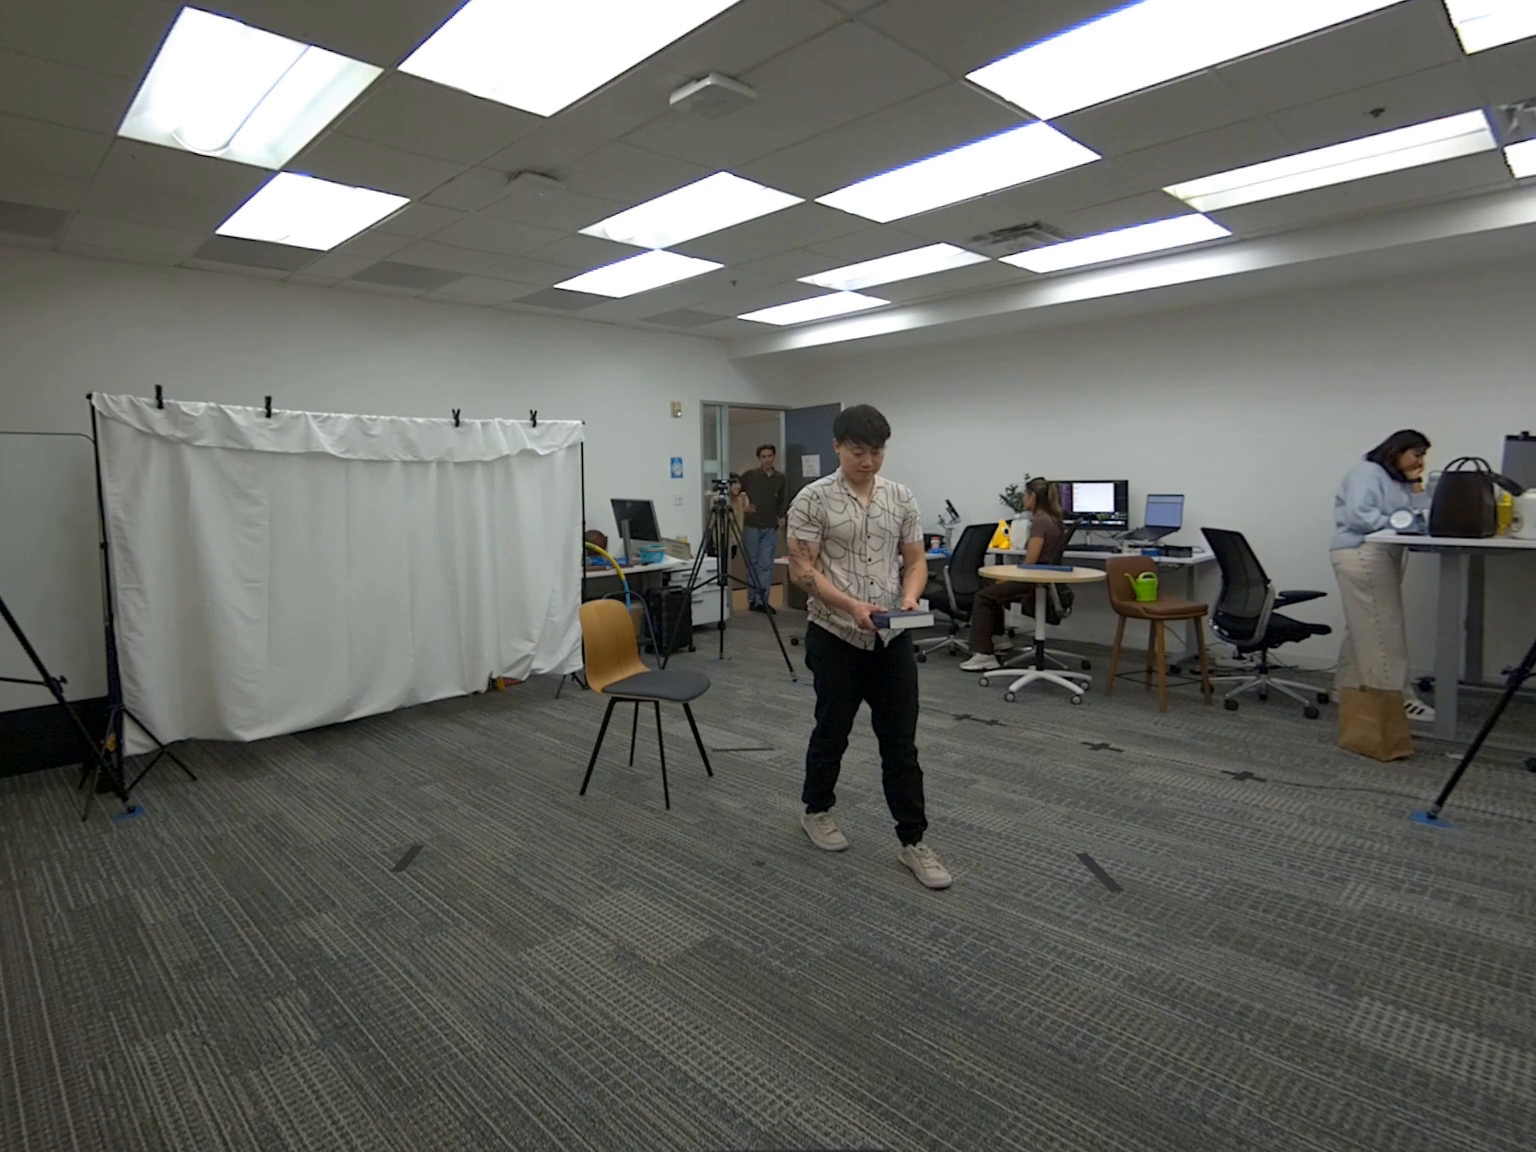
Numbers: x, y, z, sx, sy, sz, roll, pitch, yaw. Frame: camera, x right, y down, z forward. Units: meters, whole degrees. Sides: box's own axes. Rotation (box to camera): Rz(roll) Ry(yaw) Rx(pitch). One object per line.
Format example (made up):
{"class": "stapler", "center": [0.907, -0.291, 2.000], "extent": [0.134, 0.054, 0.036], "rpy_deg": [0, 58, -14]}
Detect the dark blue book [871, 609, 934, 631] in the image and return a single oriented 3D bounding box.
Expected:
{"class": "dark blue book", "center": [0.424, 0.143, 2.839], "extent": [0.162, 0.045, 0.247], "rpy_deg": [-5, 2, -10]}
